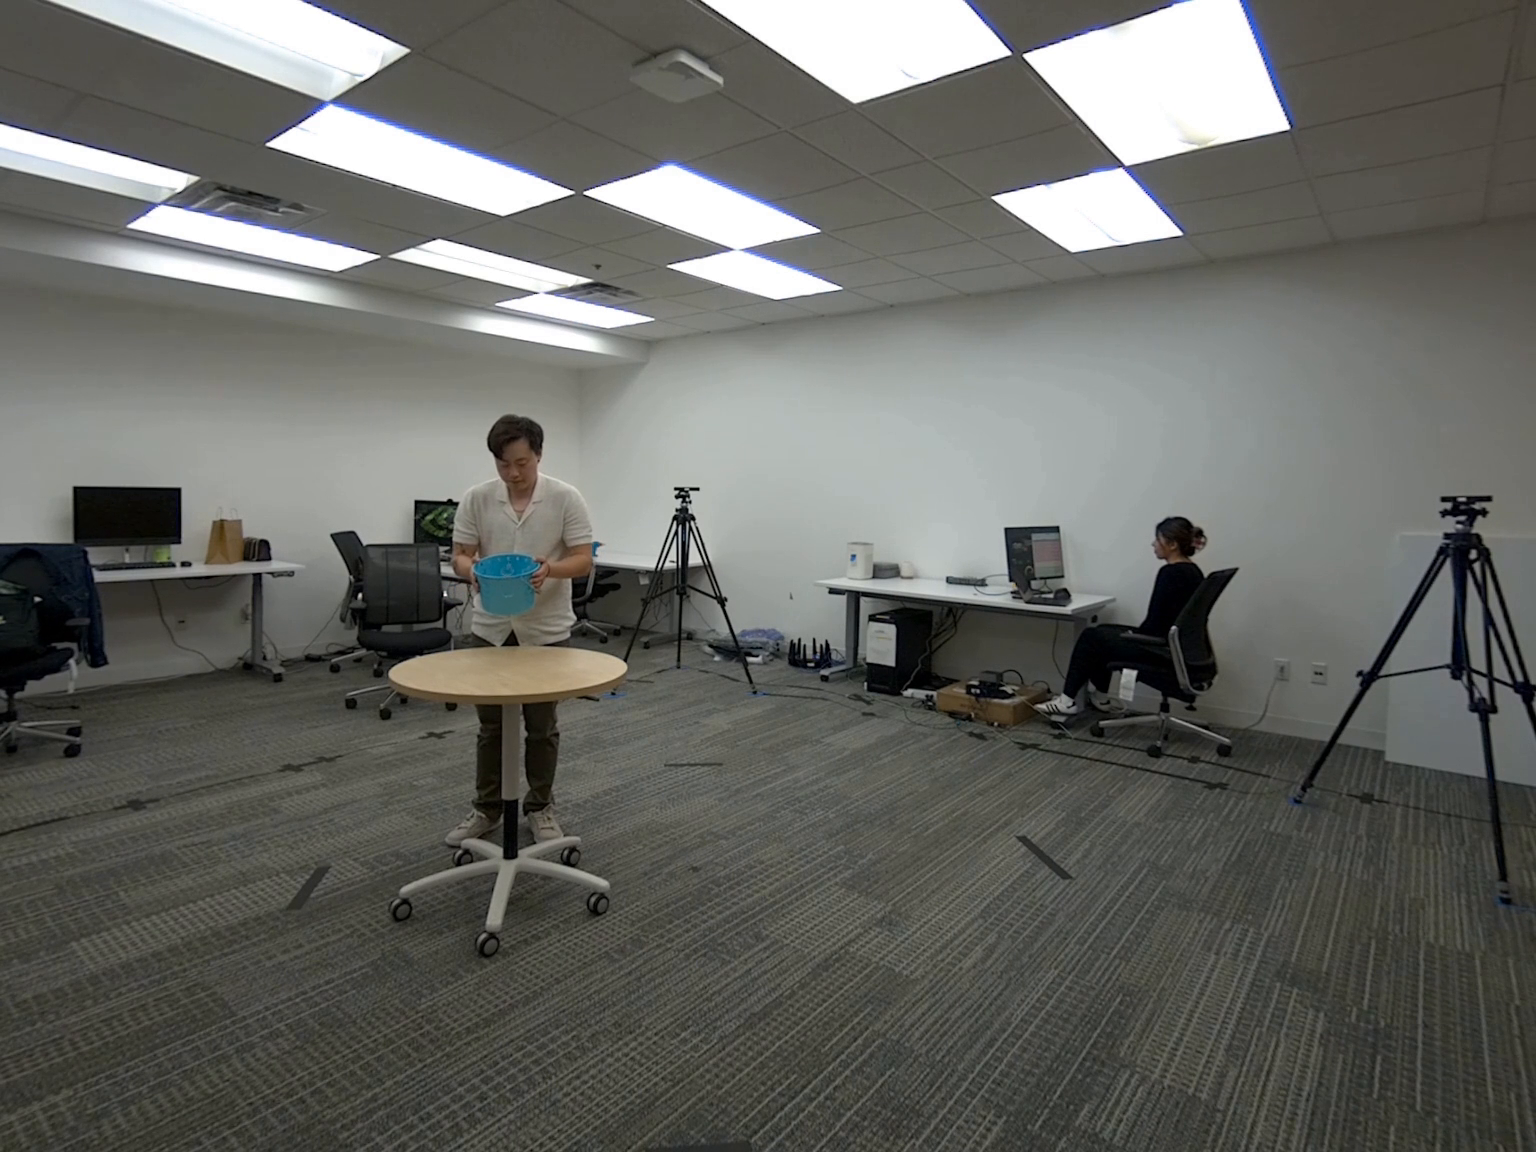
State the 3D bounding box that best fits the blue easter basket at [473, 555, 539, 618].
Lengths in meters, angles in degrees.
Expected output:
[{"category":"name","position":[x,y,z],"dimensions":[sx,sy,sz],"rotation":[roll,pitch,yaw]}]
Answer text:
[{"category":"blue easter basket","position":[-0.940,0.031,3.046],"dimensions":[0.243,0.153,0.249],"rotation":[2,22,-3]}]
